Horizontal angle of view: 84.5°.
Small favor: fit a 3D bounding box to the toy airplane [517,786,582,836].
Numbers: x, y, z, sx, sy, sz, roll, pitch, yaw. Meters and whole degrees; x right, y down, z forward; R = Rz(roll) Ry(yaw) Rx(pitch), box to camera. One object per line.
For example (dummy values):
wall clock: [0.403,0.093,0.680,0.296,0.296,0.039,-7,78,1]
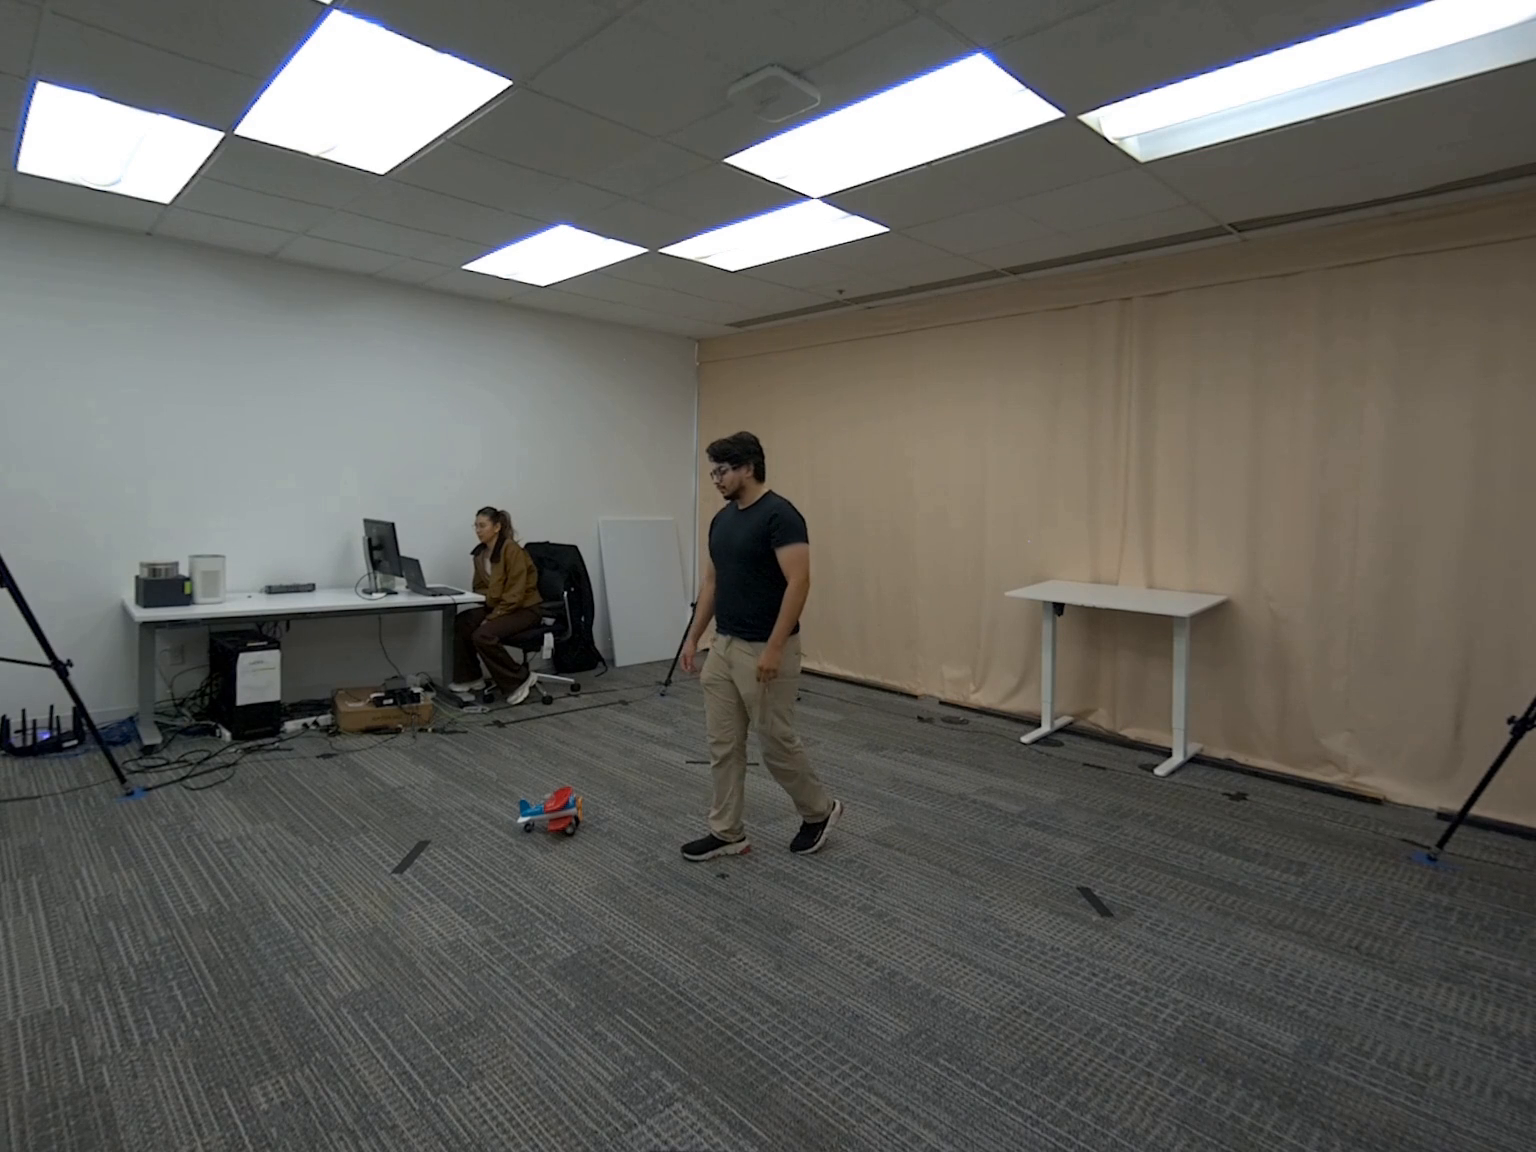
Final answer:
toy airplane: [-0.892,0.973,3.461,0.254,0.156,0.256,0,4,-29]
